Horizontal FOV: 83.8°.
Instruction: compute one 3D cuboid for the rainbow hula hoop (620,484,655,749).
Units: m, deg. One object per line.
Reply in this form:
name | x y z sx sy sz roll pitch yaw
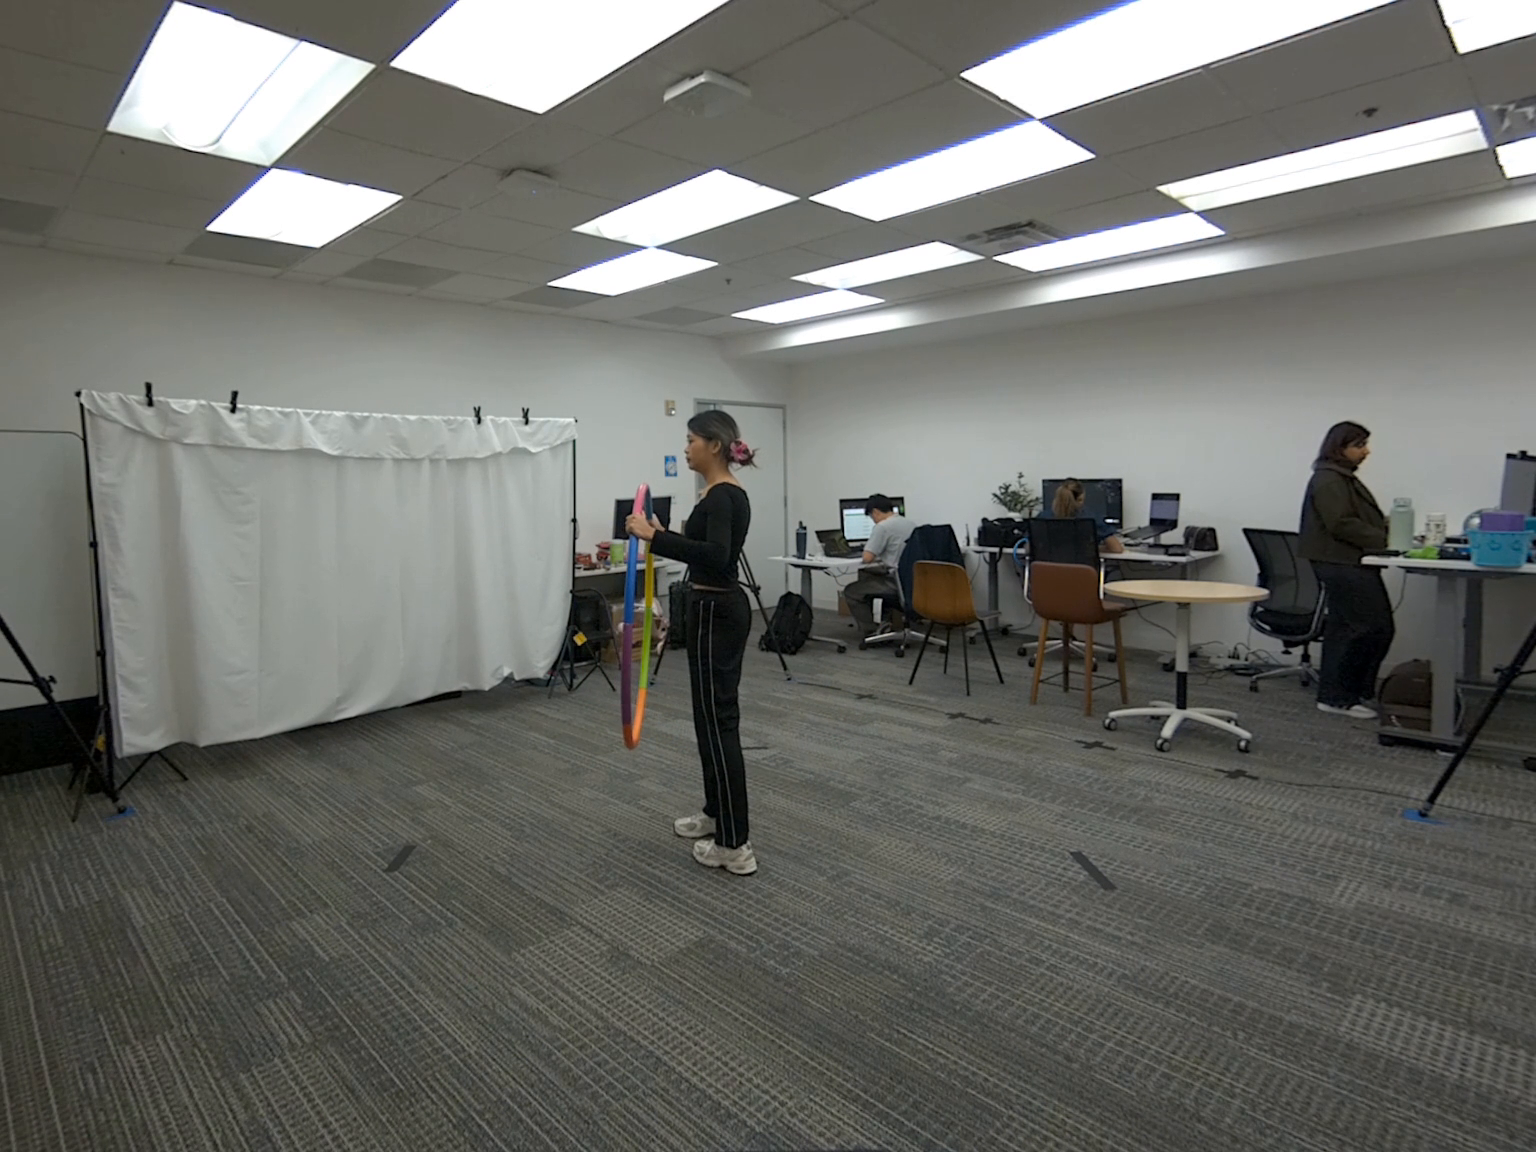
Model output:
rainbow hula hoop | -0.483 0.145 3.243 0.035 0.975 0.984 3 5 -3
